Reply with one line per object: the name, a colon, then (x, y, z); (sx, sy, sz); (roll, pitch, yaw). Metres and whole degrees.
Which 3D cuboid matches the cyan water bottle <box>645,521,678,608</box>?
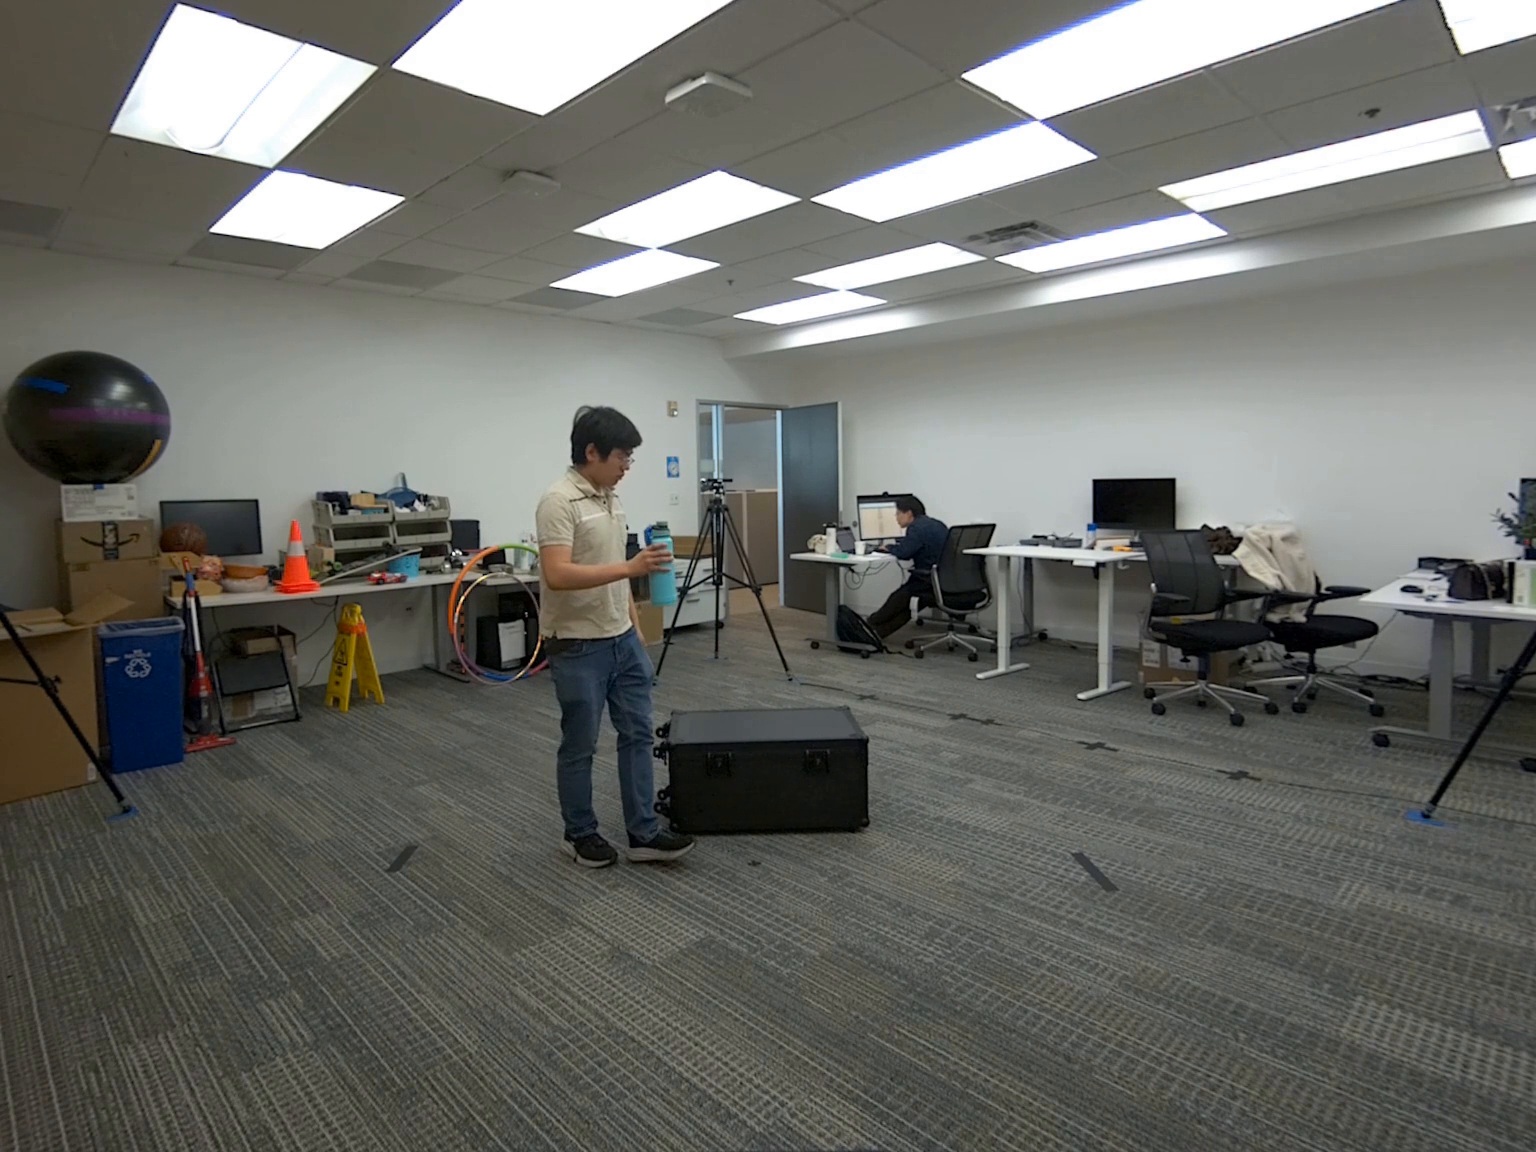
cyan water bottle: (-0.361, -0.045, 2.892); (0.092, 0.282, 0.093); (-5, 4, -1)
